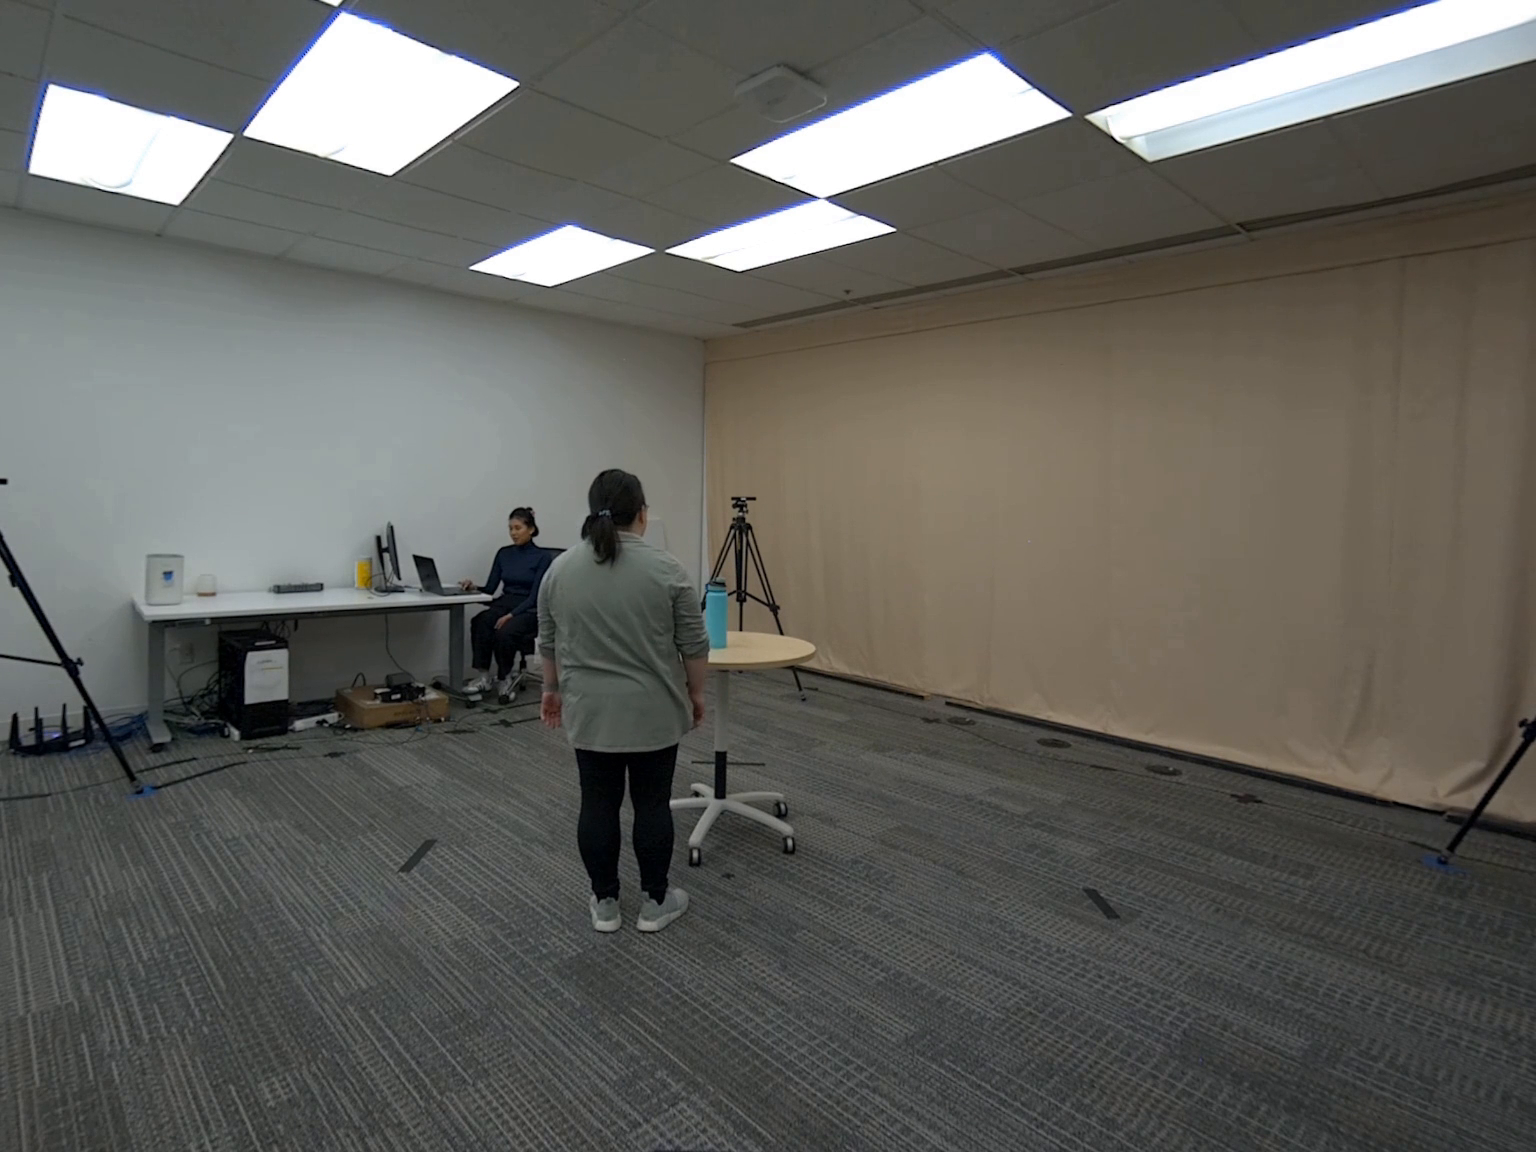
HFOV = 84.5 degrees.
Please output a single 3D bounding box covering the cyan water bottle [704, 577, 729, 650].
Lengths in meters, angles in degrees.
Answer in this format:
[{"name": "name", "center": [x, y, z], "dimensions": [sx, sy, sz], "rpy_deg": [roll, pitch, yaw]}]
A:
[{"name": "cyan water bottle", "center": [-0.220, 0.151, 3.461], "dimensions": [0.092, 0.283, 0.092], "rpy_deg": [0, 3, -1]}]
